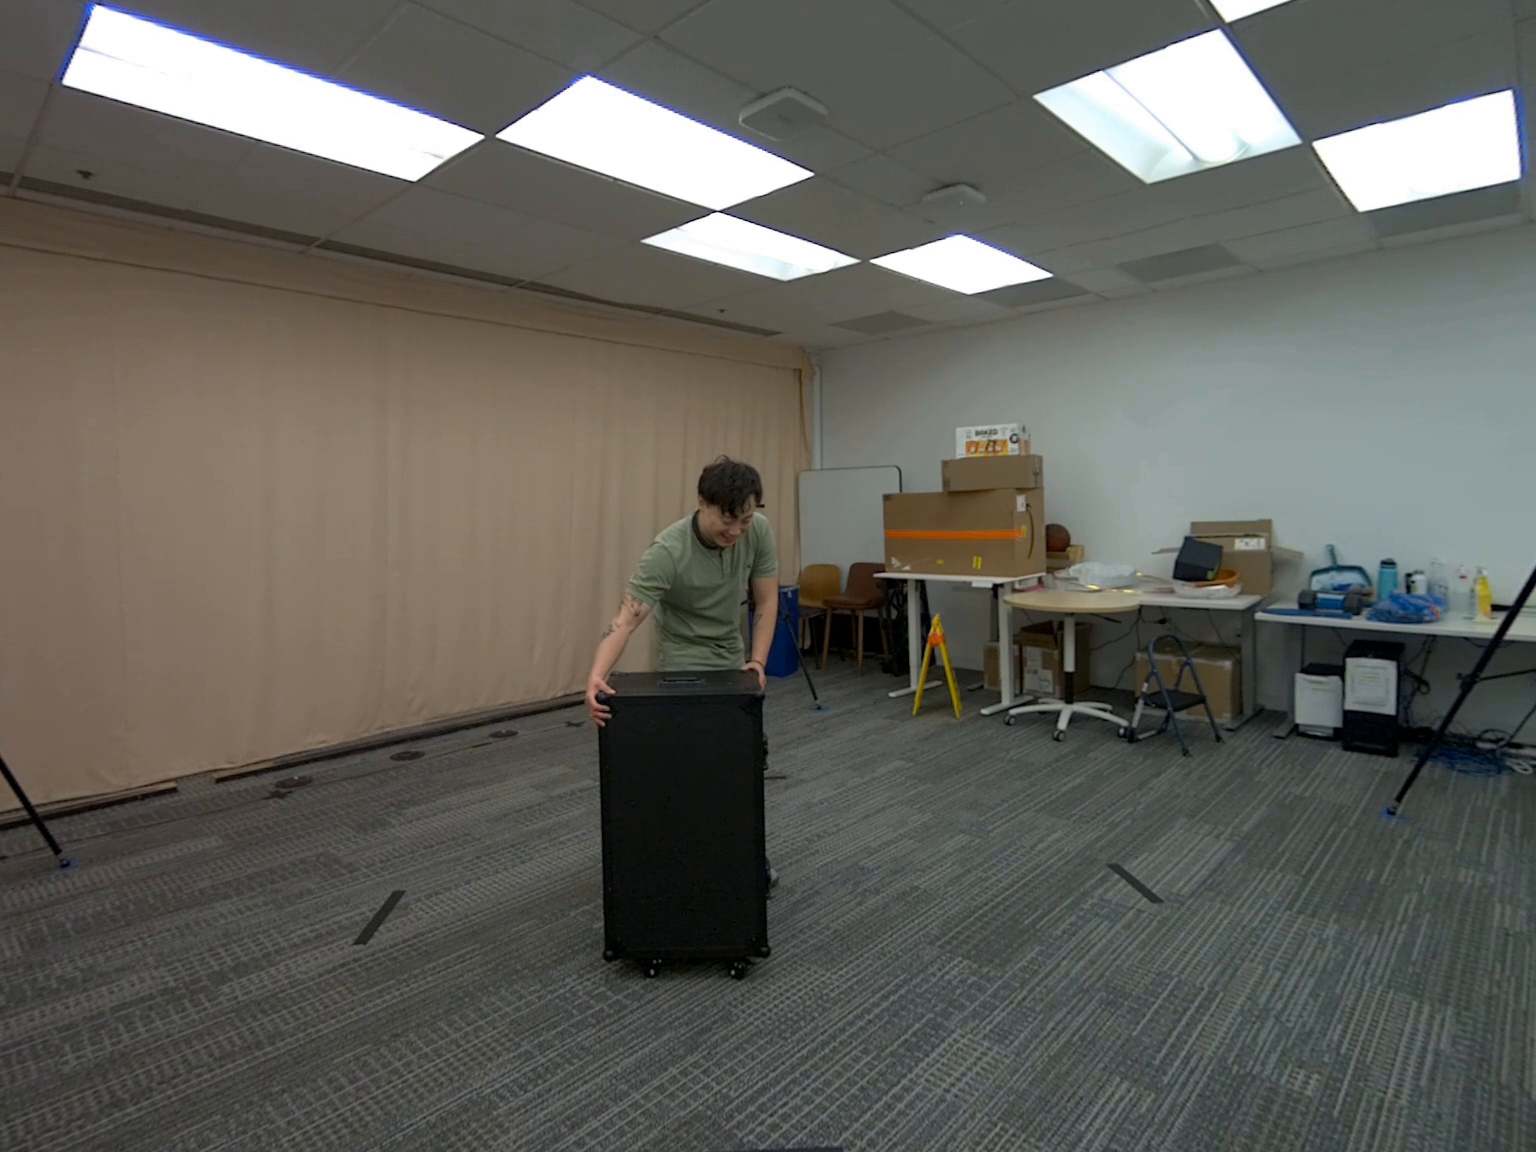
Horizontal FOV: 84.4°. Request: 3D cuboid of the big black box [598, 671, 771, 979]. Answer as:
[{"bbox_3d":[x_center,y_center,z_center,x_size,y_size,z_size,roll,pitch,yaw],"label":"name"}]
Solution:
[{"bbox_3d":[-0.261,0.750,2.622,0.521,0.860,0.397,-2,3,0],"label":"big black box"}]
